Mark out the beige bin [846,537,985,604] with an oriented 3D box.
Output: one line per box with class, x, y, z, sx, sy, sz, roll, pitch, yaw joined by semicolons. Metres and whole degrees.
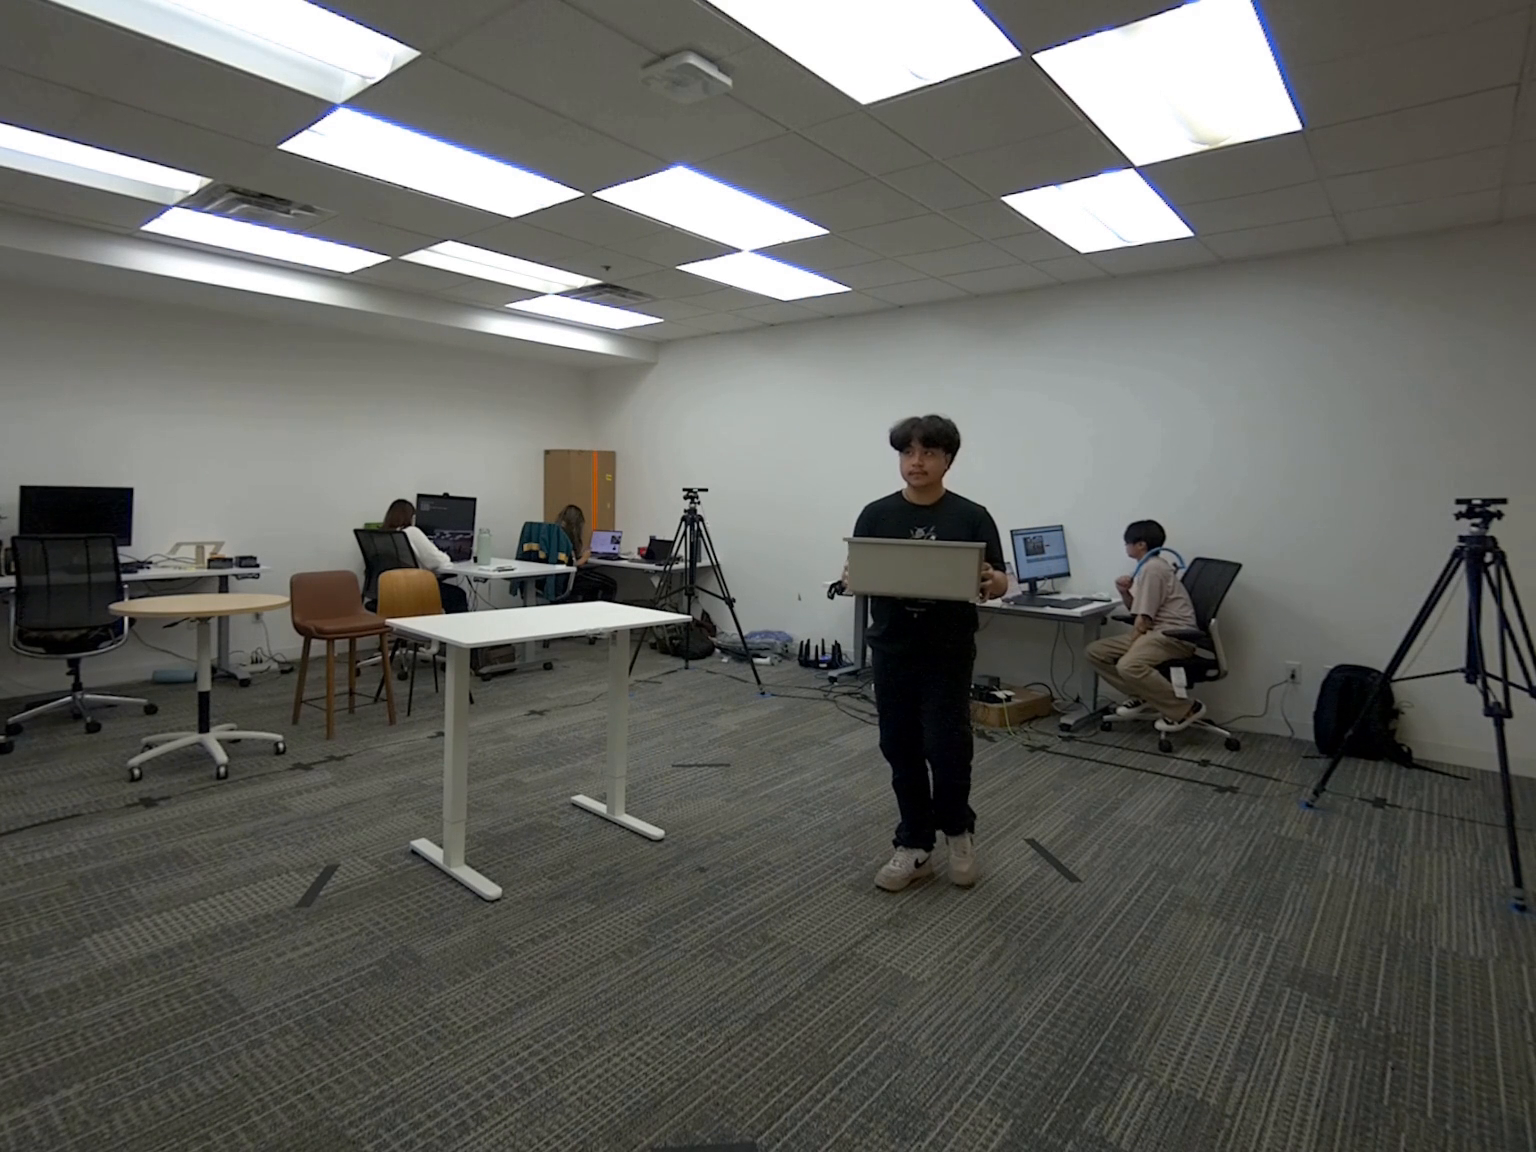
beige bin;0.478;-0.030;2.753;0.431;0.188;0.371;3;3;18
